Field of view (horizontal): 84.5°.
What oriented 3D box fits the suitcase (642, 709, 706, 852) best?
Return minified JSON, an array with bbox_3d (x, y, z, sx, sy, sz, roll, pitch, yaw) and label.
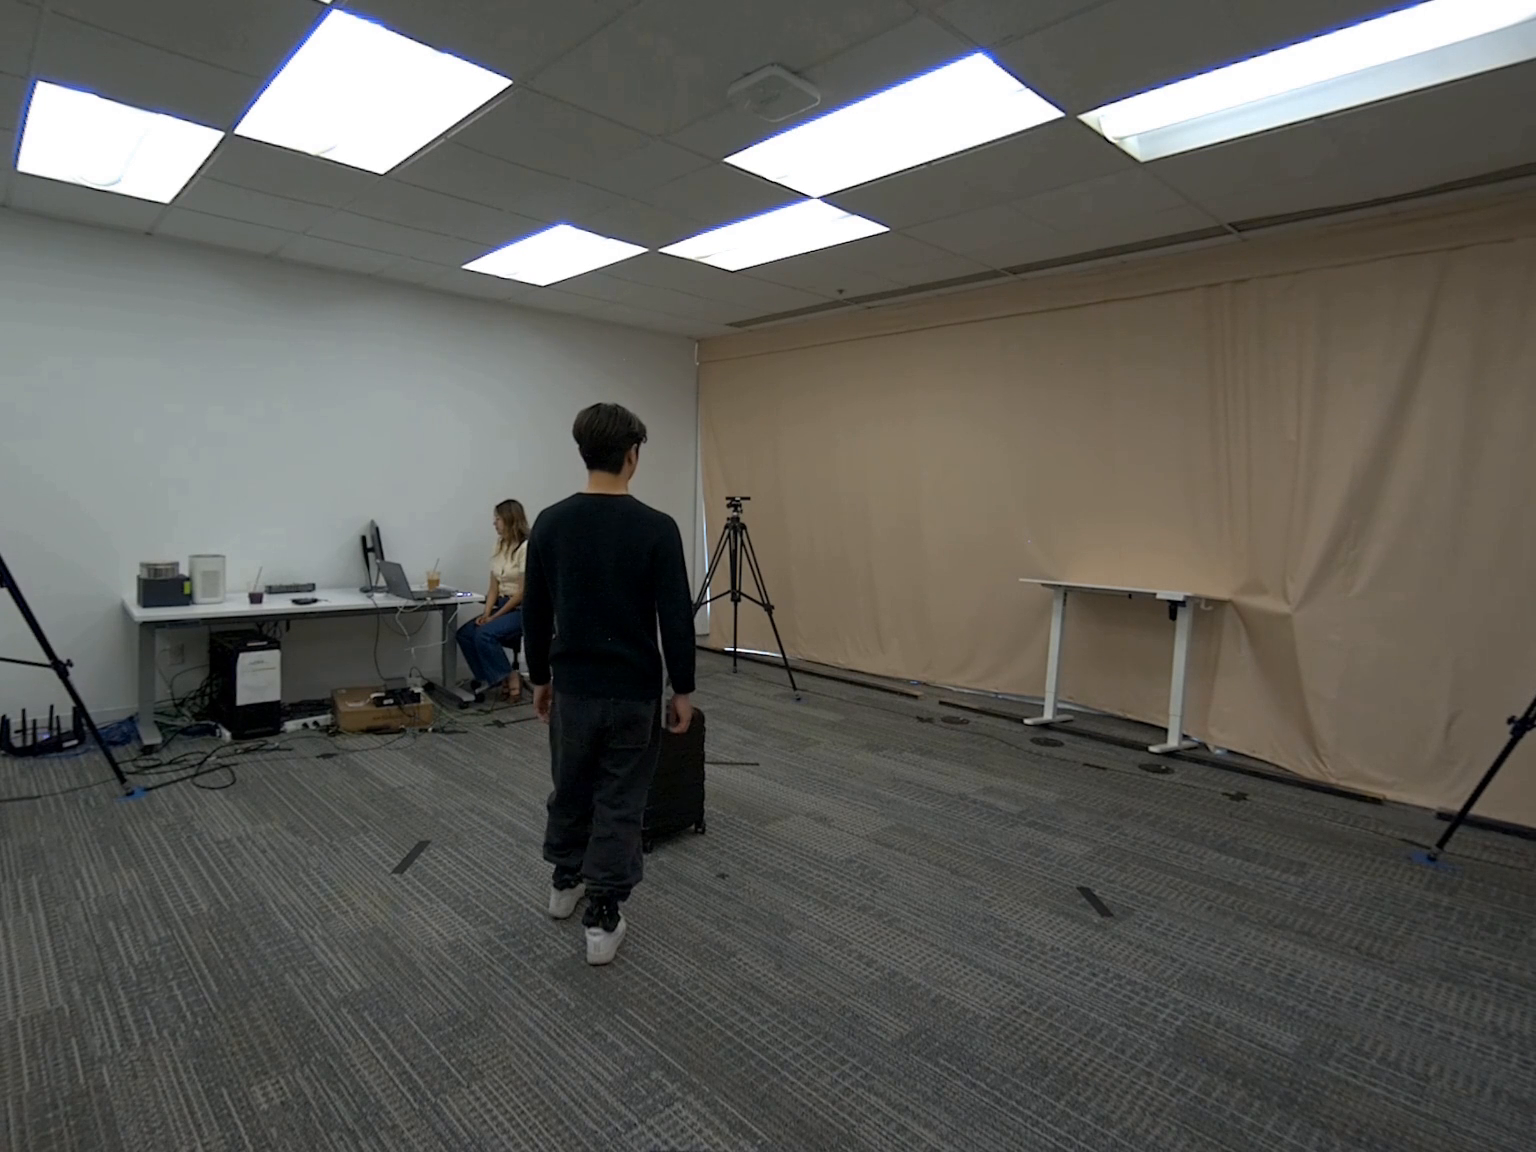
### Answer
[{"bbox_3d":[-0.461,0.594,3.435,0.263,0.976,0.375,3,5,44],"label":"suitcase"}]
